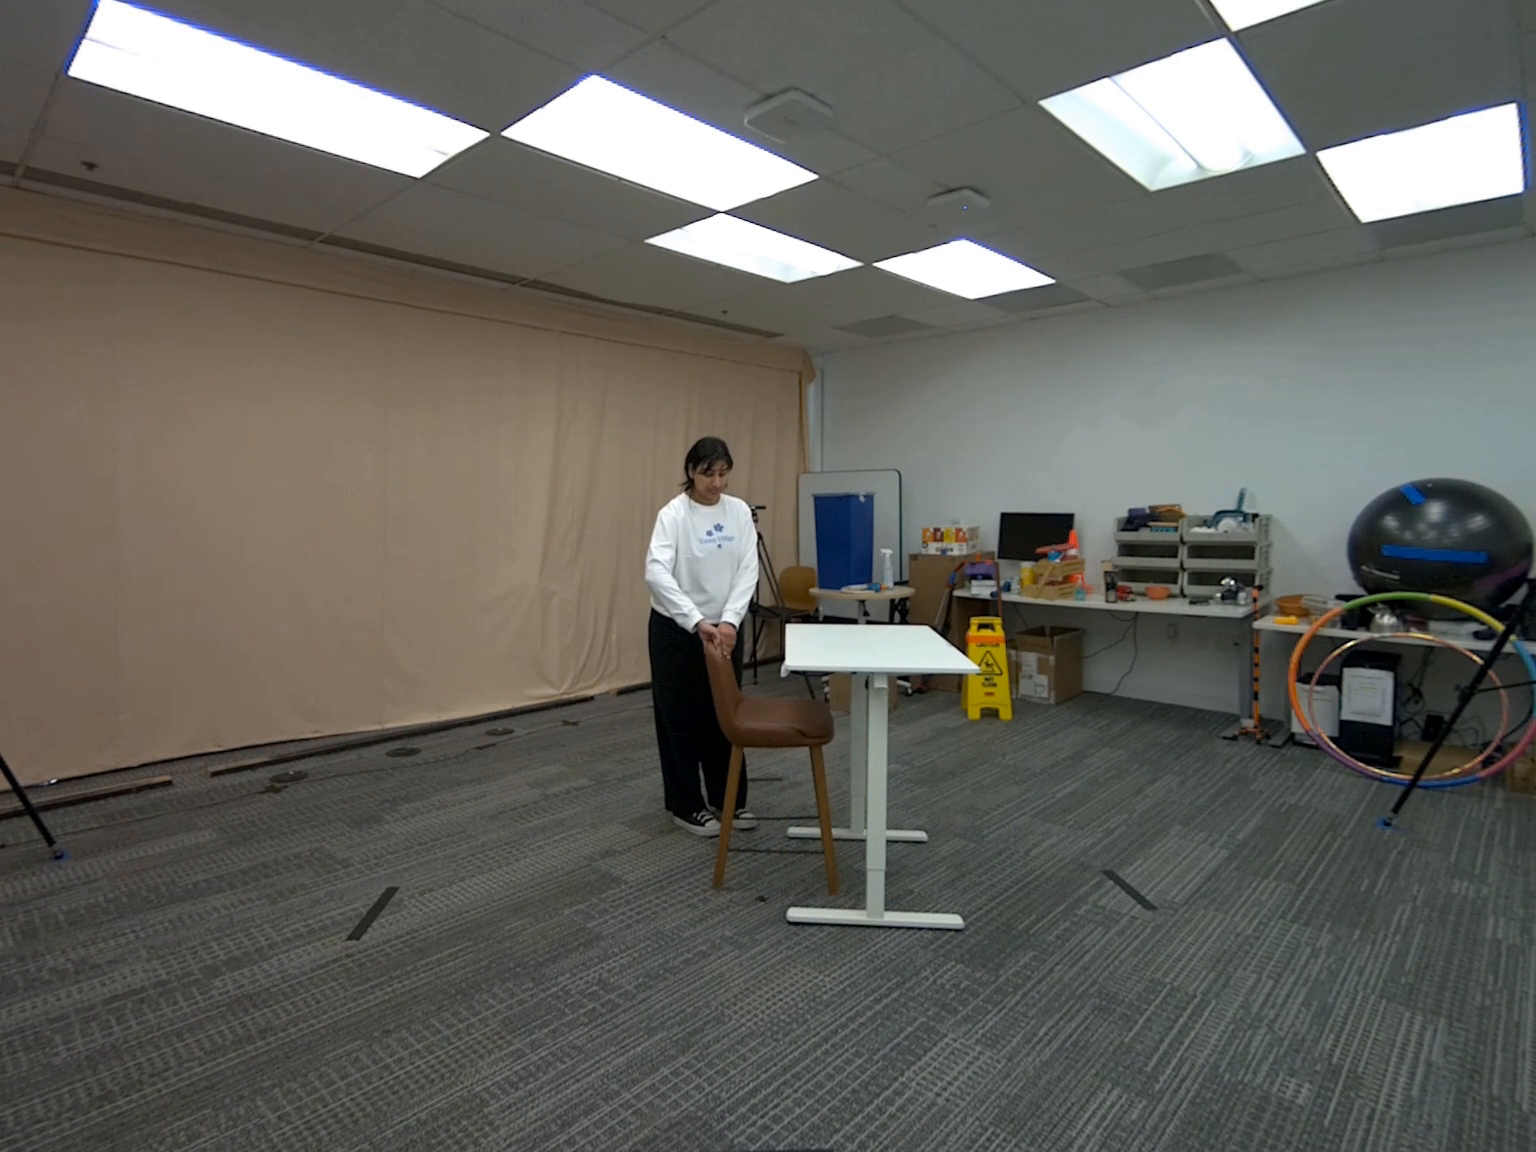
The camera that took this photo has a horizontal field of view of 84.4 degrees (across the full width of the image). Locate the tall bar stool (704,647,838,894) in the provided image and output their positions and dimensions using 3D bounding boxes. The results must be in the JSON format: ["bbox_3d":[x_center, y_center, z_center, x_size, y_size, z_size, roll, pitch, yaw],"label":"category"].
[{"bbox_3d":[0.020,0.689,3.206,0.469,0.888,0.456,-2,2,2],"label":"tall bar stool"}]
